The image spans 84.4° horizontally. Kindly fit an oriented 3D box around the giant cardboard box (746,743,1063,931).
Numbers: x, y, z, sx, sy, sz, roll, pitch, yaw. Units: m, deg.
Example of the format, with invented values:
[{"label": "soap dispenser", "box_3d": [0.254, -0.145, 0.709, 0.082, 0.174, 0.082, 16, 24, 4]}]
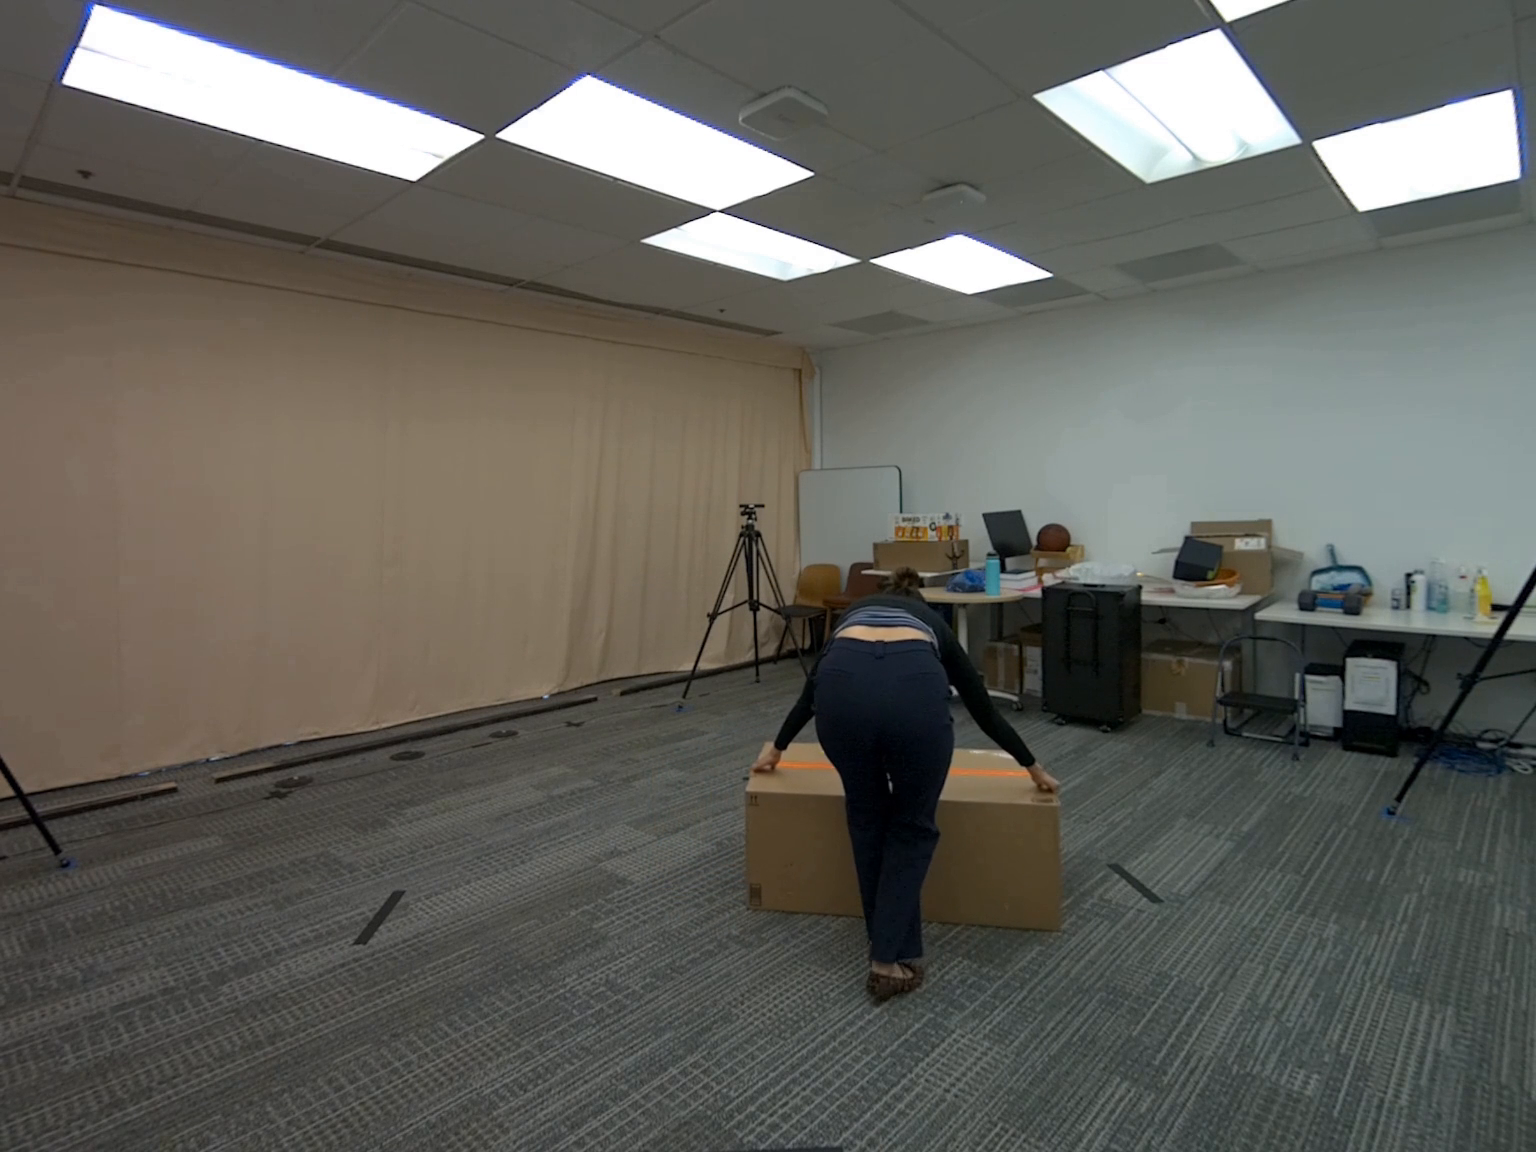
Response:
[{"label": "giant cardboard box", "box_3d": [0.469, 0.907, 3.064, 1.037, 0.425, 0.572, 0, 4, 10]}]
